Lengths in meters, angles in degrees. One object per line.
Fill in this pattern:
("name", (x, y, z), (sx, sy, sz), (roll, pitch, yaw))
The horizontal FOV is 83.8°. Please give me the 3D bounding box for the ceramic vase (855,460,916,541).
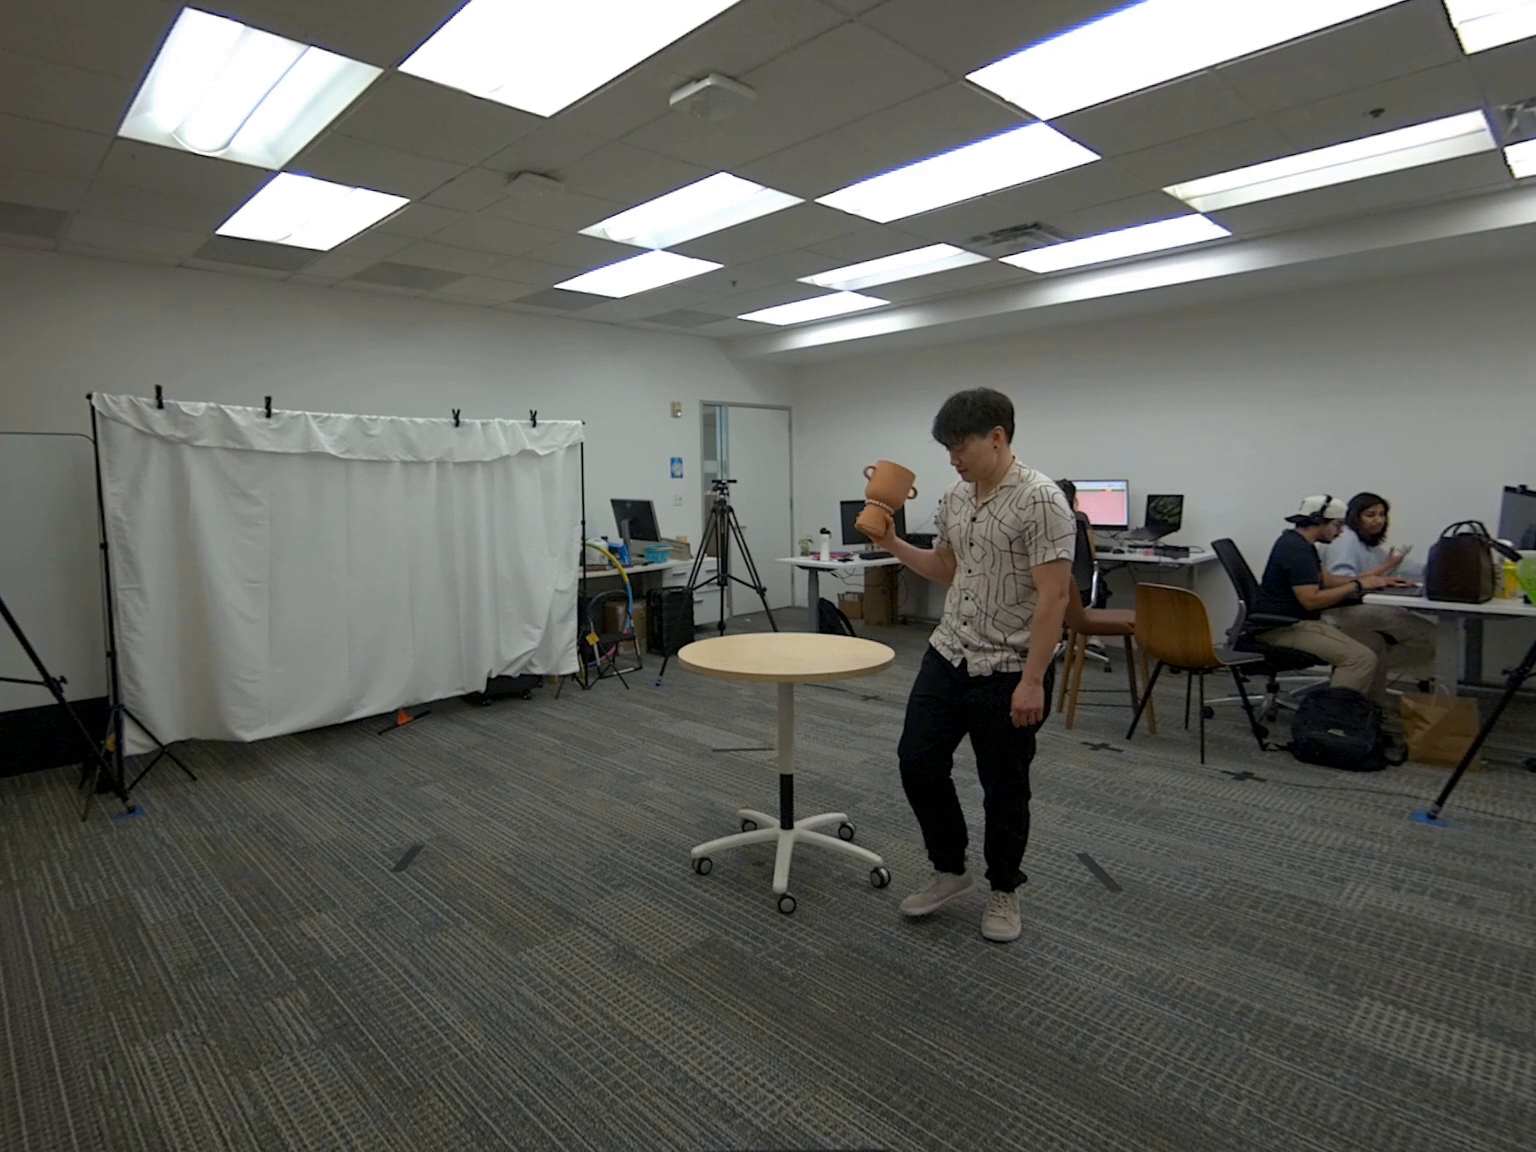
("ceramic vase", (0.381, -0.248, 2.749), (0.164, 0.220, 0.130), (18, -7, 28))
